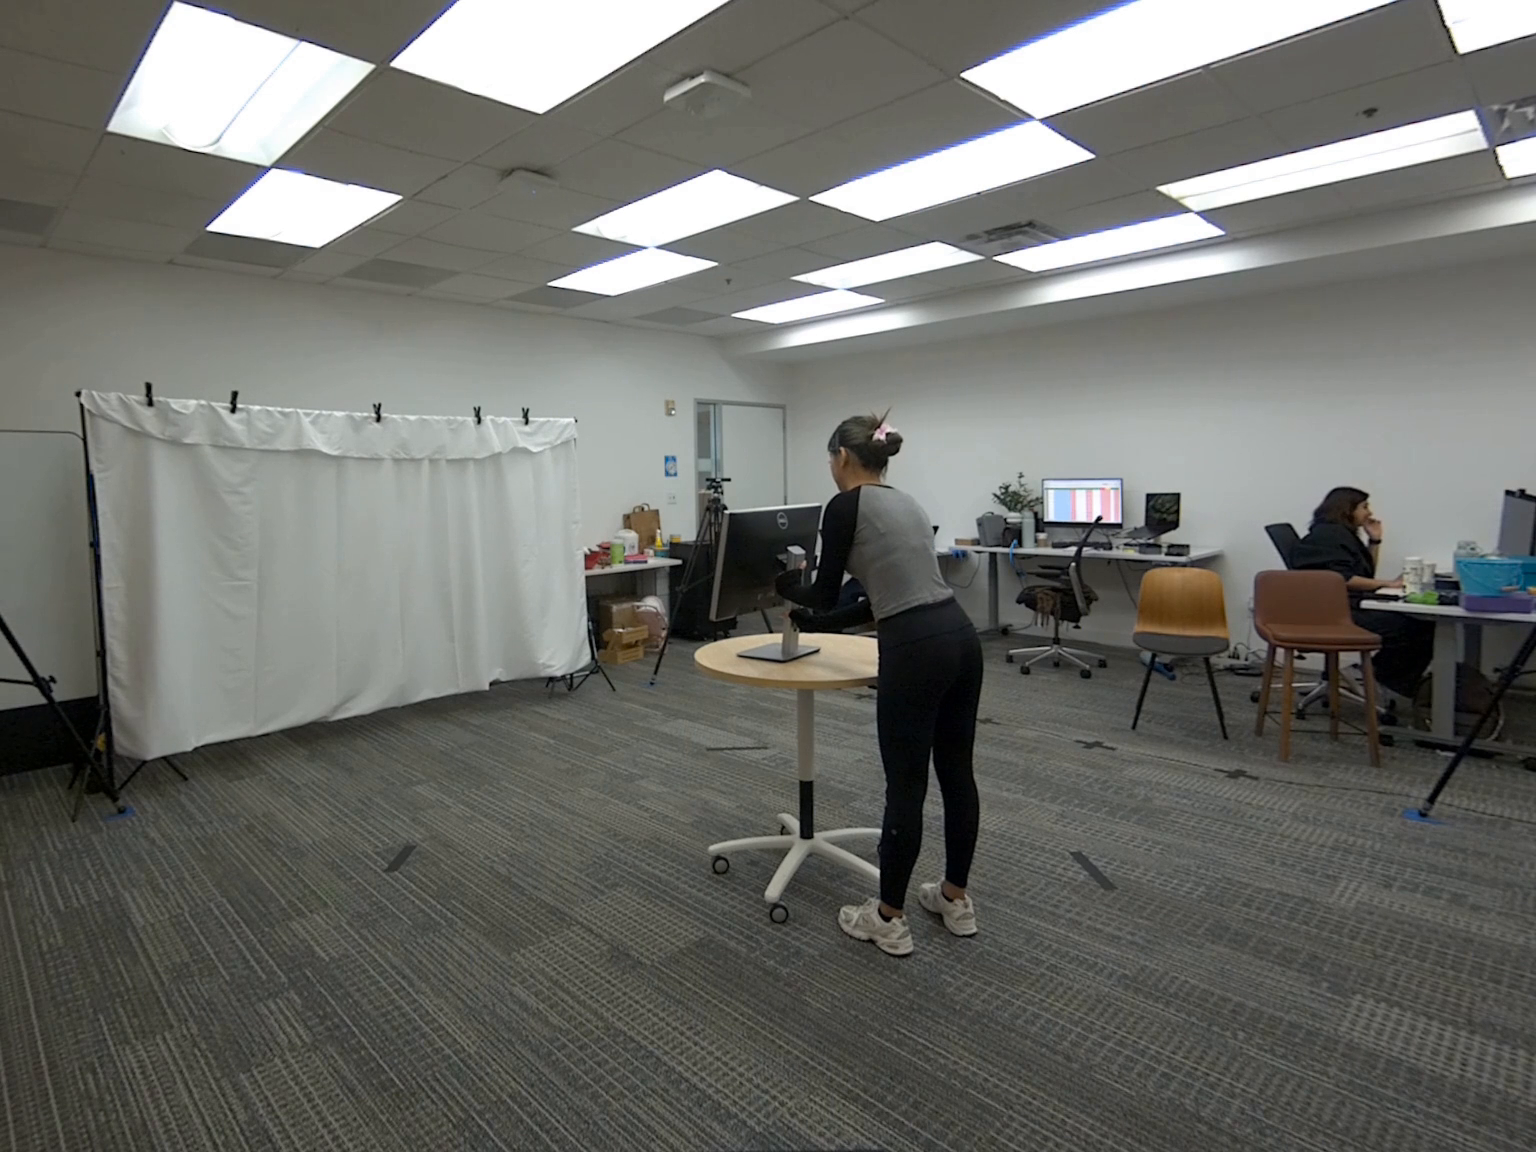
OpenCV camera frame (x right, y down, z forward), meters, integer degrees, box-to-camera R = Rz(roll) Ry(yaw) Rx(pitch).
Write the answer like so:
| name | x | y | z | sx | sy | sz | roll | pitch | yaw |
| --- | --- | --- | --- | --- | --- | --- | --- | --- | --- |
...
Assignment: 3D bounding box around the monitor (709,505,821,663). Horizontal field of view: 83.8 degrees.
| name | x | y | z | sx | sy | sz | roll | pitch | yaw |
| --- | --- | --- | --- | --- | --- | --- | --- | --- | --- |
| monitor | 0.035 | 0.022 | 2.939 | 0.179 | 0.516 | 0.518 | -8 | 2 | 37 |
